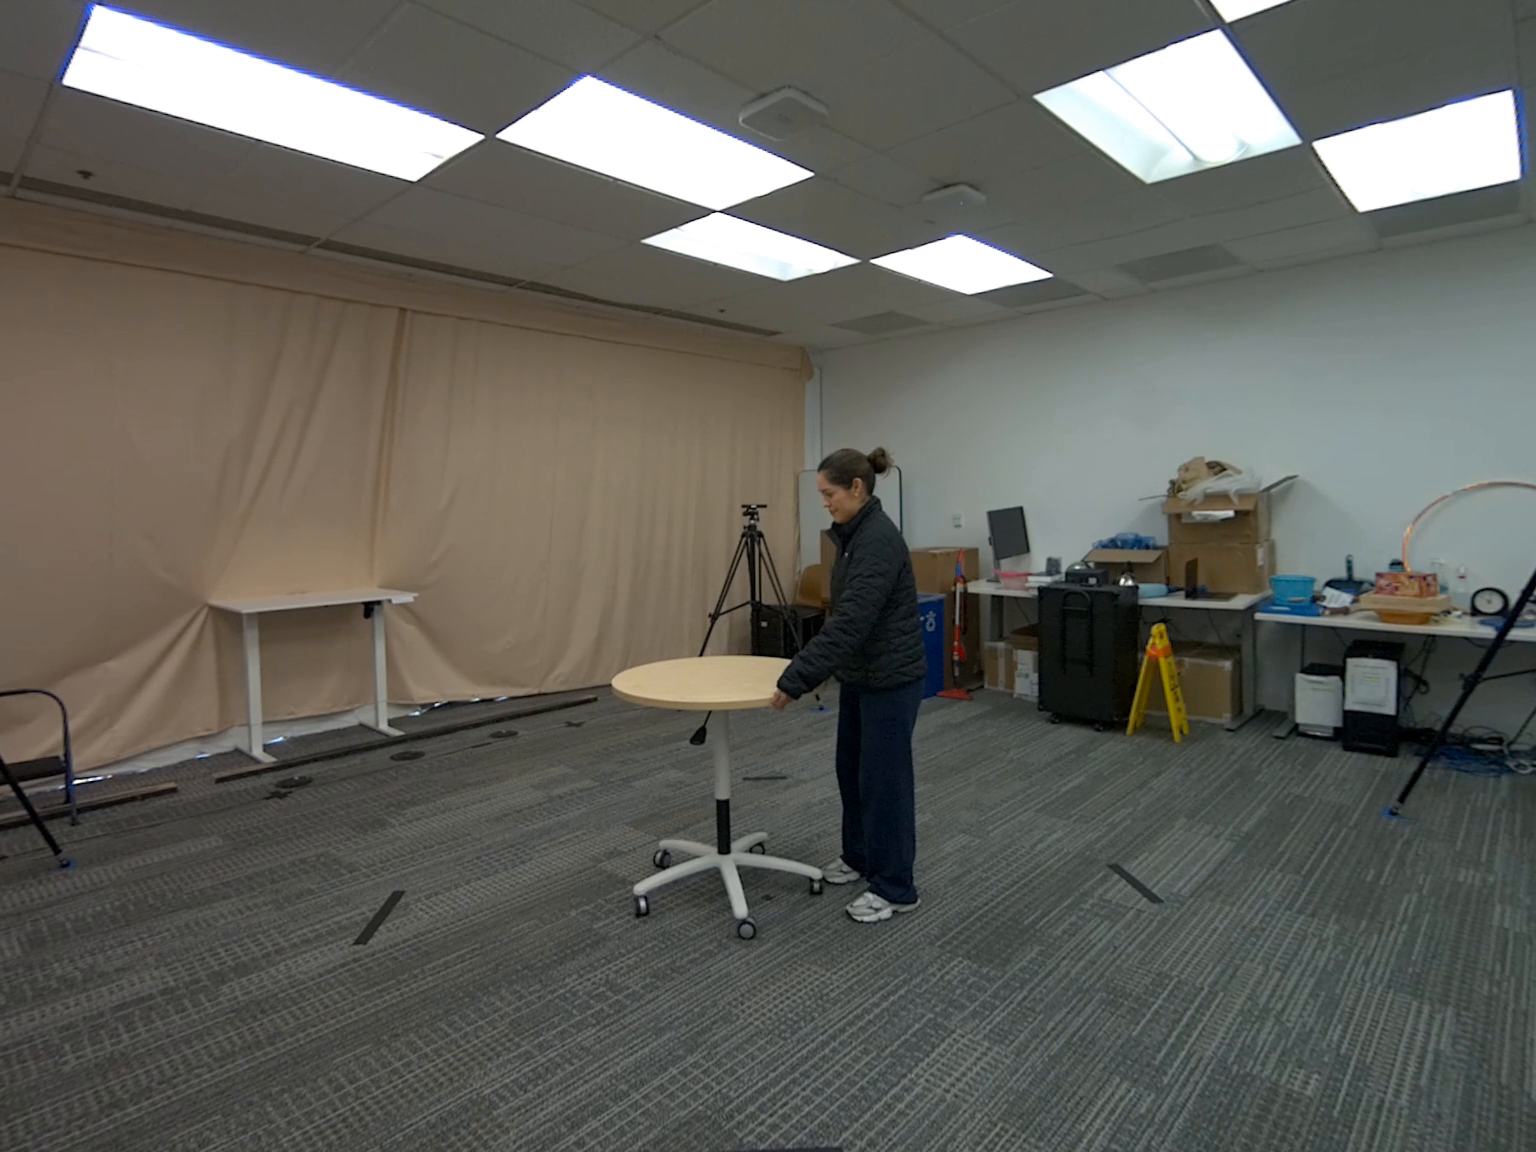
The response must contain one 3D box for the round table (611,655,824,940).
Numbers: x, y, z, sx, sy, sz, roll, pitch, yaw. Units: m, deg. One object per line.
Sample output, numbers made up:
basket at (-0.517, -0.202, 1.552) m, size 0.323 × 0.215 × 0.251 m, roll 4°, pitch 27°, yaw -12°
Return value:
round table at (-0.163, 0.749, 3.021) m, size 0.784 × 0.785 × 0.788 m, roll -1°, pitch 4°, yaw -2°
